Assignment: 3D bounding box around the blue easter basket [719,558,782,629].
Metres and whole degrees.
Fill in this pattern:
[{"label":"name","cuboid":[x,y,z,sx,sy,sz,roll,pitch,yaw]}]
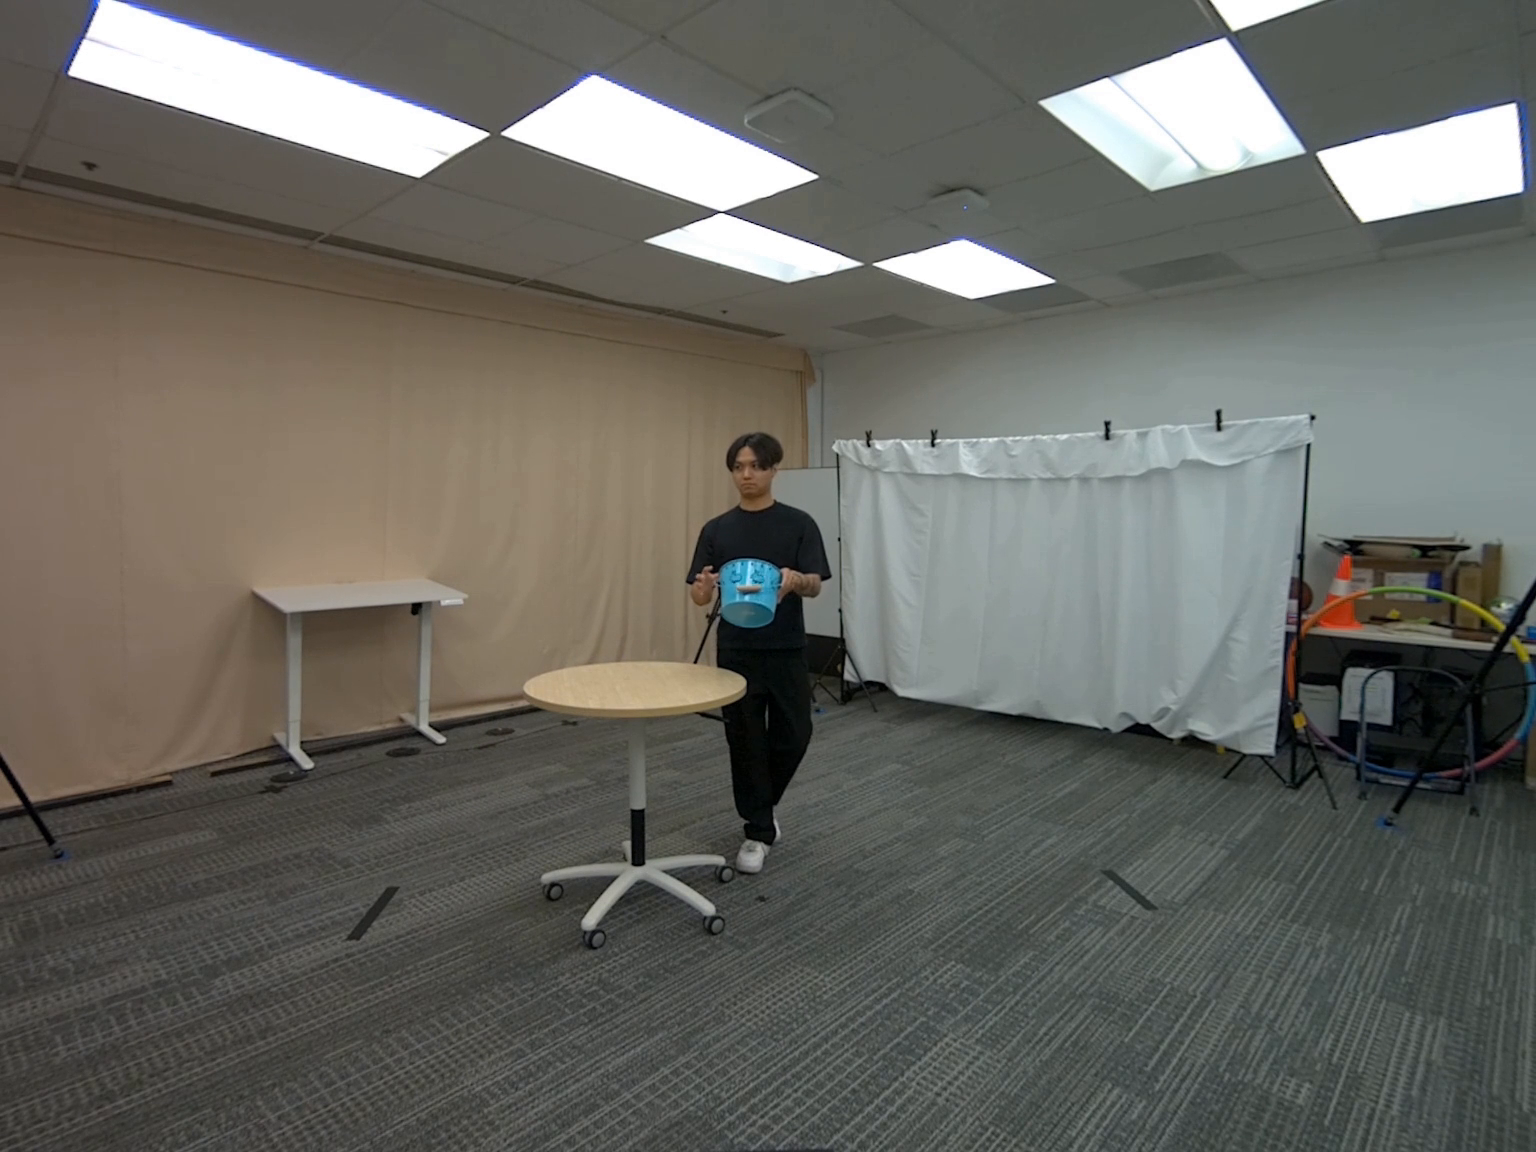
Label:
[{"label":"blue easter basket","cuboid":[-0.068,0.063,2.921,0.244,0.158,0.240,5,-32,1]}]
